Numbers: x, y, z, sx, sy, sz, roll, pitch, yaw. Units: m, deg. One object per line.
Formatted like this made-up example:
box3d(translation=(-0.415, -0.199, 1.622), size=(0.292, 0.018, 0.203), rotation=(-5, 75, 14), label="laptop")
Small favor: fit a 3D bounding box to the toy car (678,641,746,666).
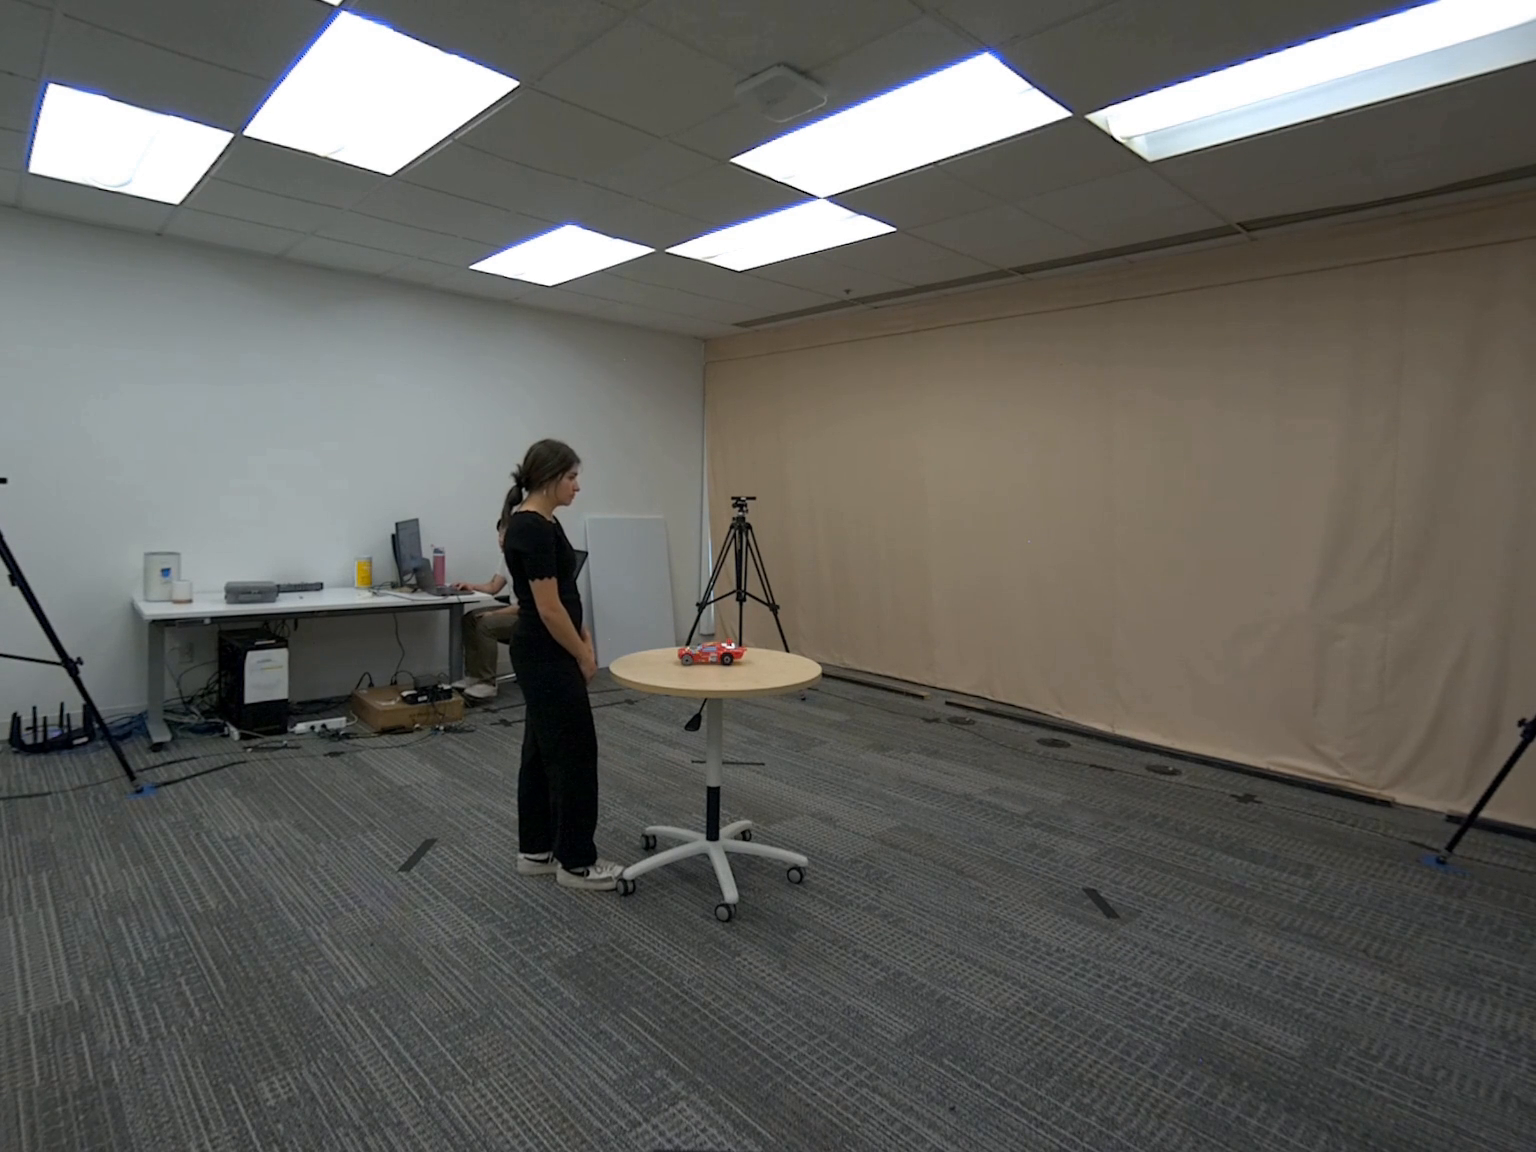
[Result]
box3d(translation=(-0.212, 0.287, 3.093), size=(0.254, 0.083, 0.131), rotation=(-11, 6, -1), label="toy car")
